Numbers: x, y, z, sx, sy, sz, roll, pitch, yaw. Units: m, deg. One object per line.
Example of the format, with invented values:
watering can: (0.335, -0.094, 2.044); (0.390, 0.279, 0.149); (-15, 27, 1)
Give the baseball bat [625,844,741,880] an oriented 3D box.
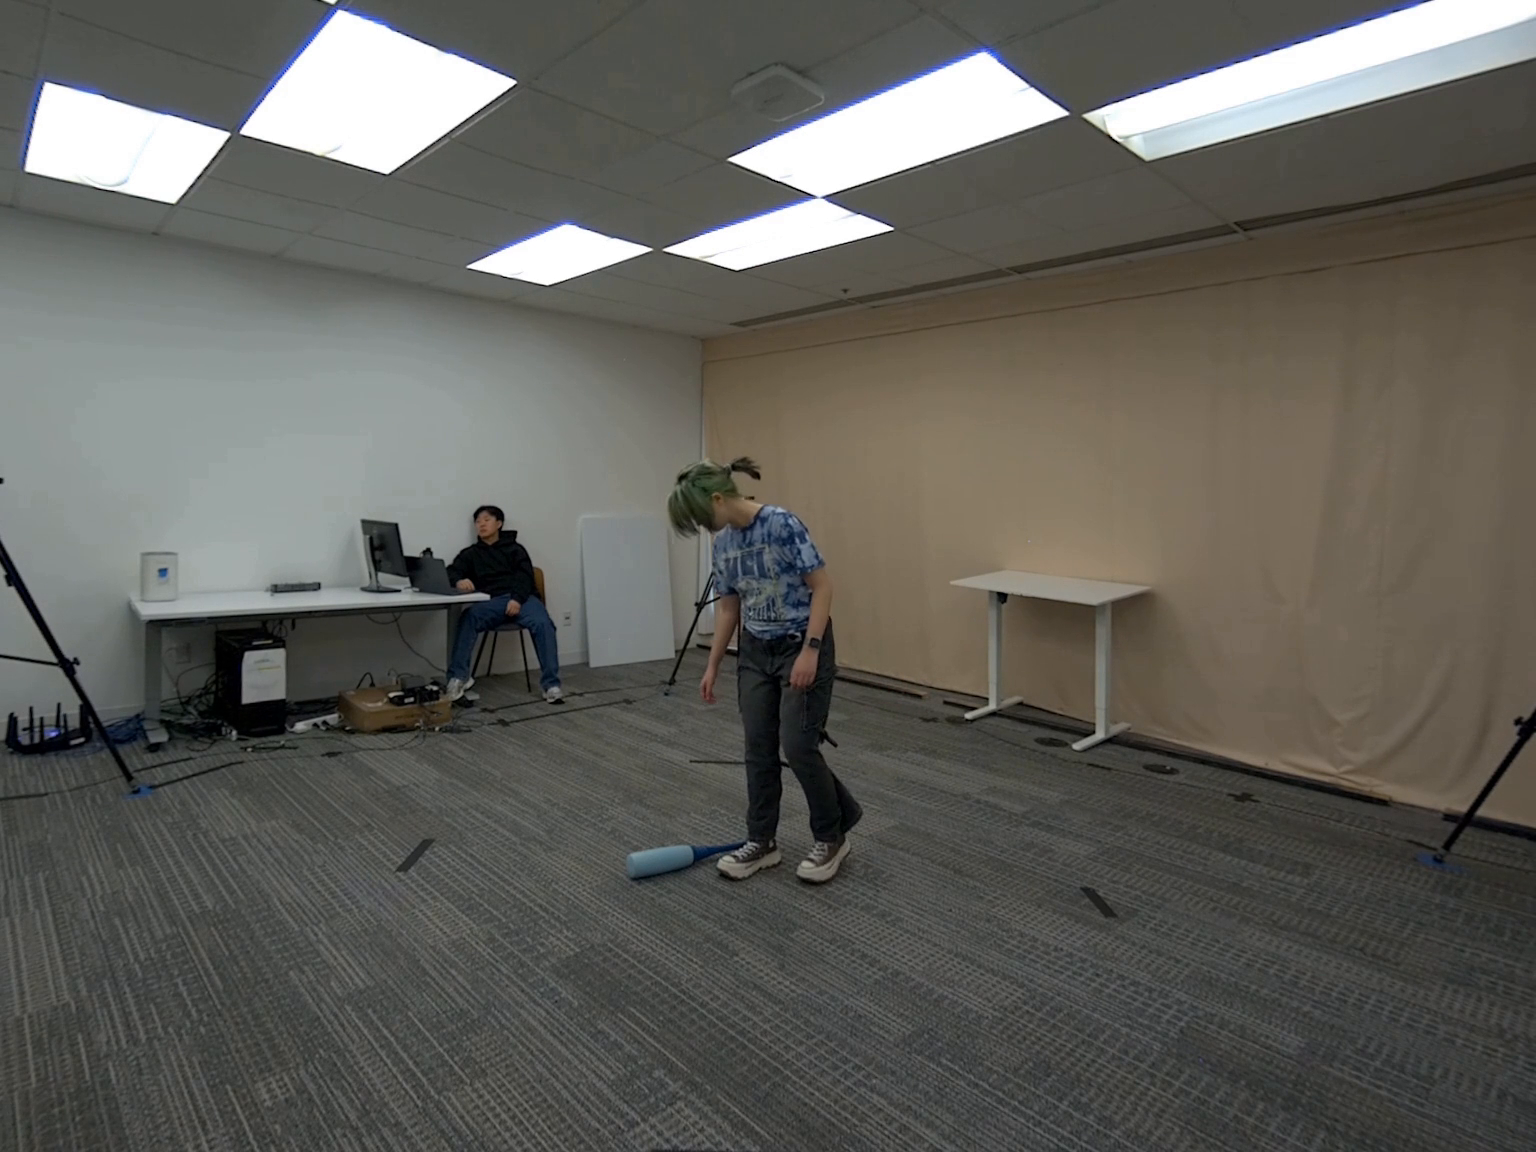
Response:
baseball bat: (-0.288, 1.058, 3.194); (0.531, 0.089, 0.091); (2, 3, -33)
